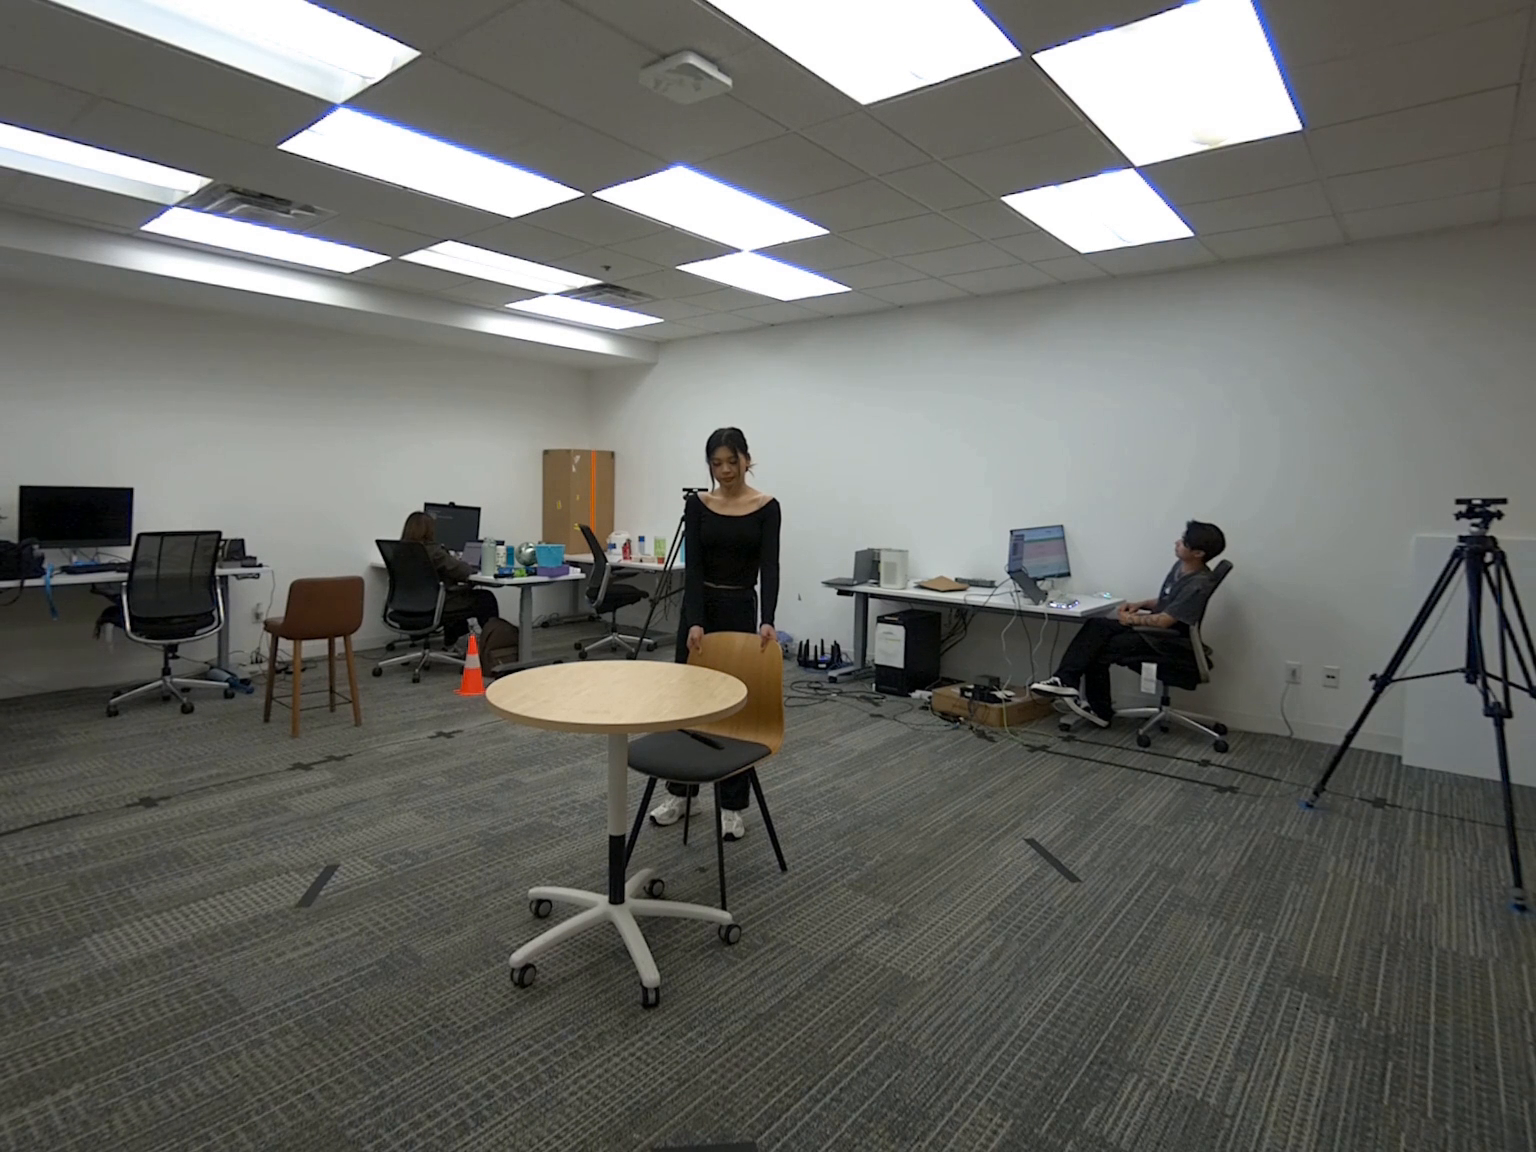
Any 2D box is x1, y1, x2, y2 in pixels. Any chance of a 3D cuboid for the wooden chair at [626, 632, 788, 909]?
[{"bbox_3d":[-0.232,0.649,3.004,0.492,0.878,0.508,3,-1,29],"label":"wooden chair"}]
